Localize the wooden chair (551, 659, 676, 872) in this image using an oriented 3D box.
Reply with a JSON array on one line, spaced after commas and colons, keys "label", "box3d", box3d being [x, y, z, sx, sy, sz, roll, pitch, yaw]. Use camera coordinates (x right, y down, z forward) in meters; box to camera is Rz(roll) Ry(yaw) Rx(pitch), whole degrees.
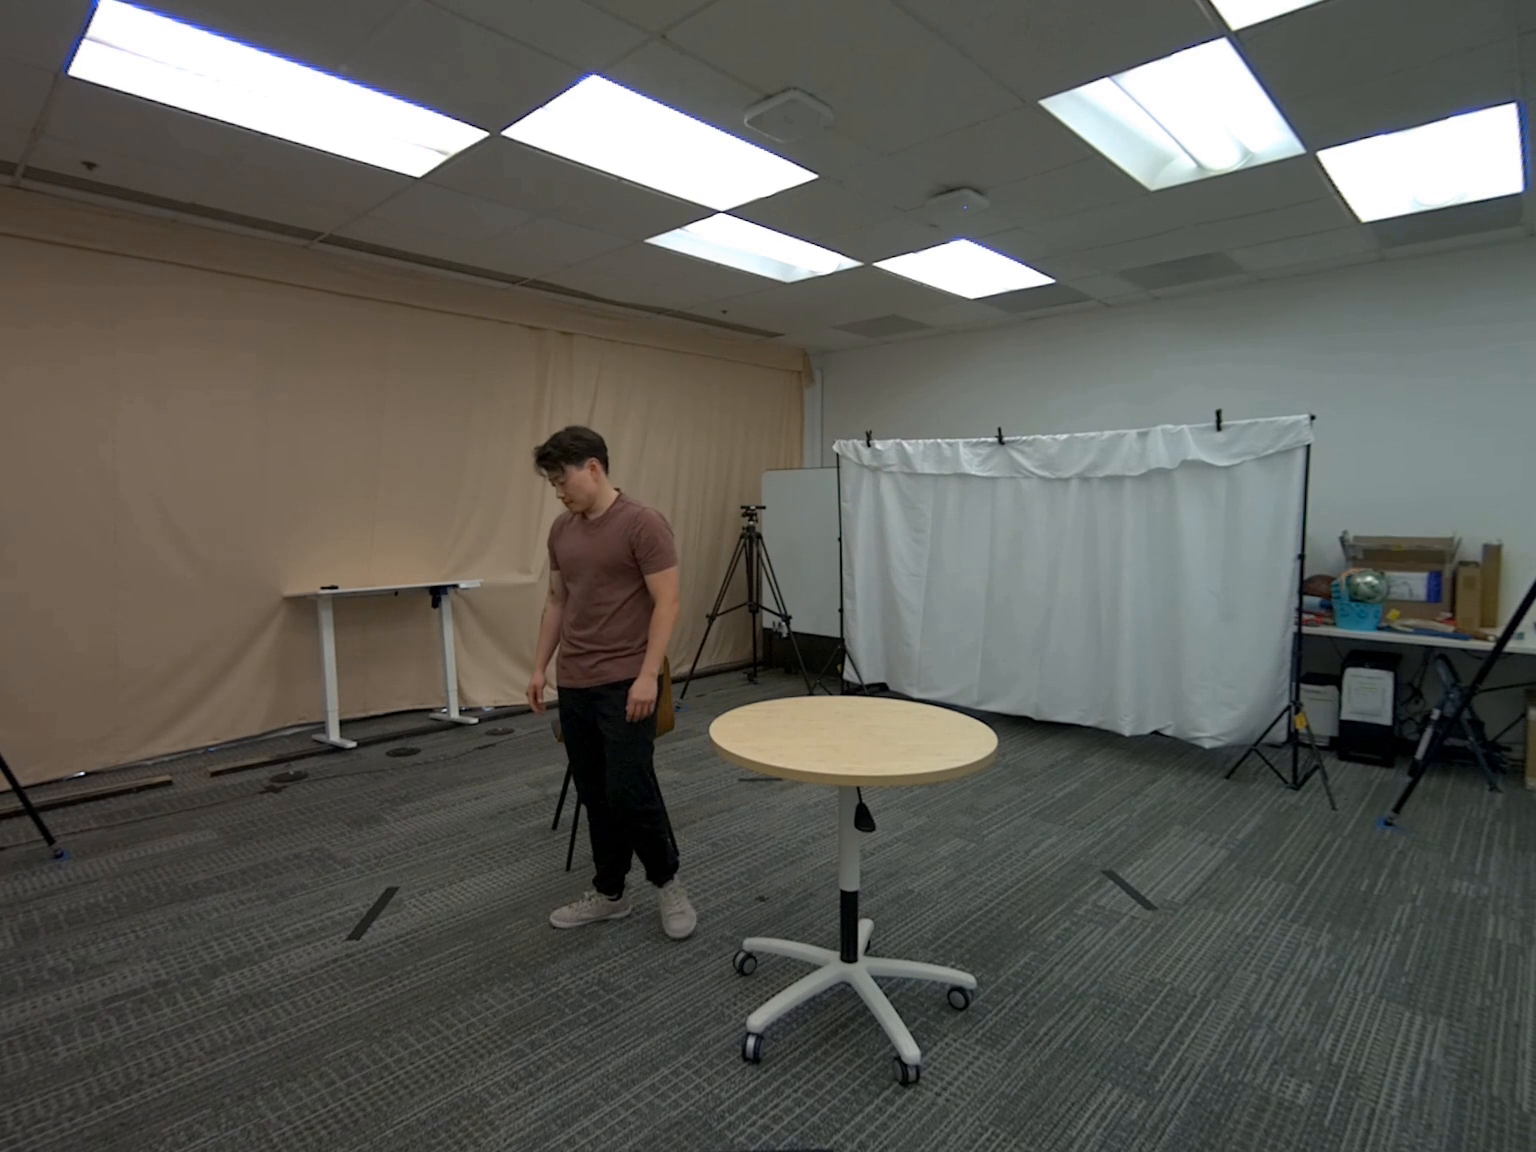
[{"label": "wooden chair", "box3d": [-0.650, 0.679, 3.476, 0.469, 0.873, 0.536, -1, 8, -20]}]
